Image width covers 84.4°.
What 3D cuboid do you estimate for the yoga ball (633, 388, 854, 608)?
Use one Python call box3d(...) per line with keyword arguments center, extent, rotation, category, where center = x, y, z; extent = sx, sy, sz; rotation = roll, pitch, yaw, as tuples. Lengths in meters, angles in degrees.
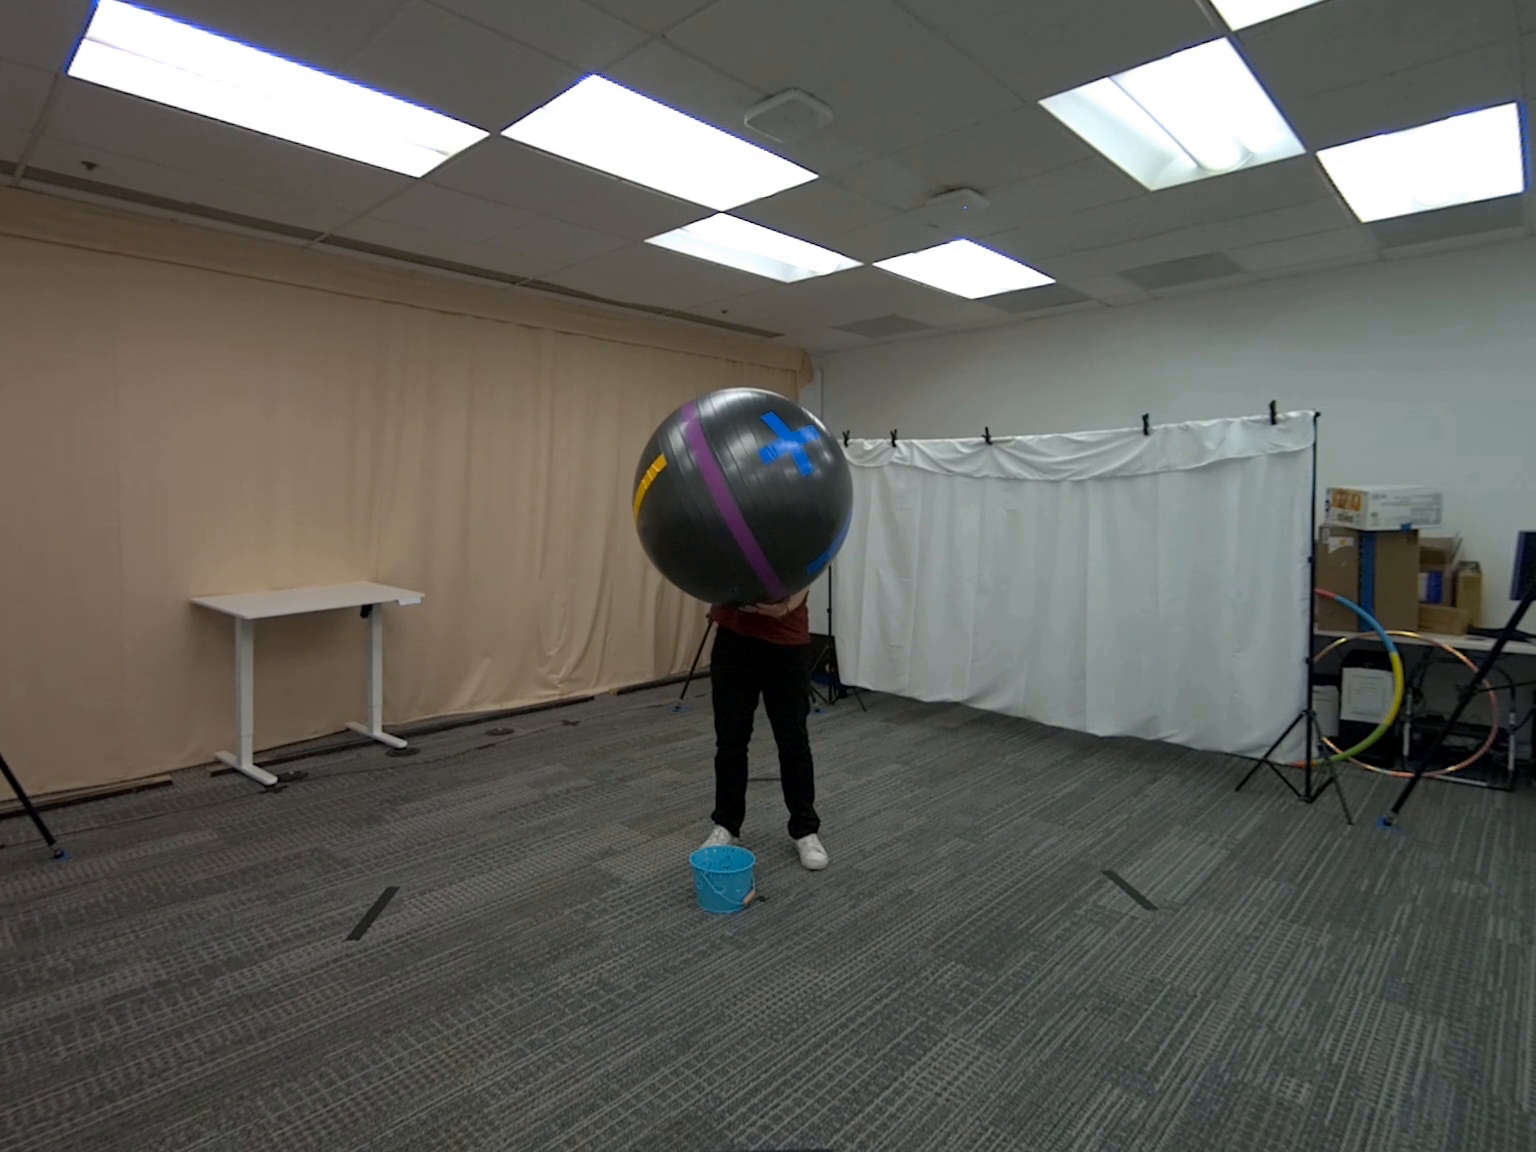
box3d(center=(-0.086, -0.265, 2.911), extent=(0.757, 0.756, 0.760), rotation=(0, 4, -2), category="yoga ball")
